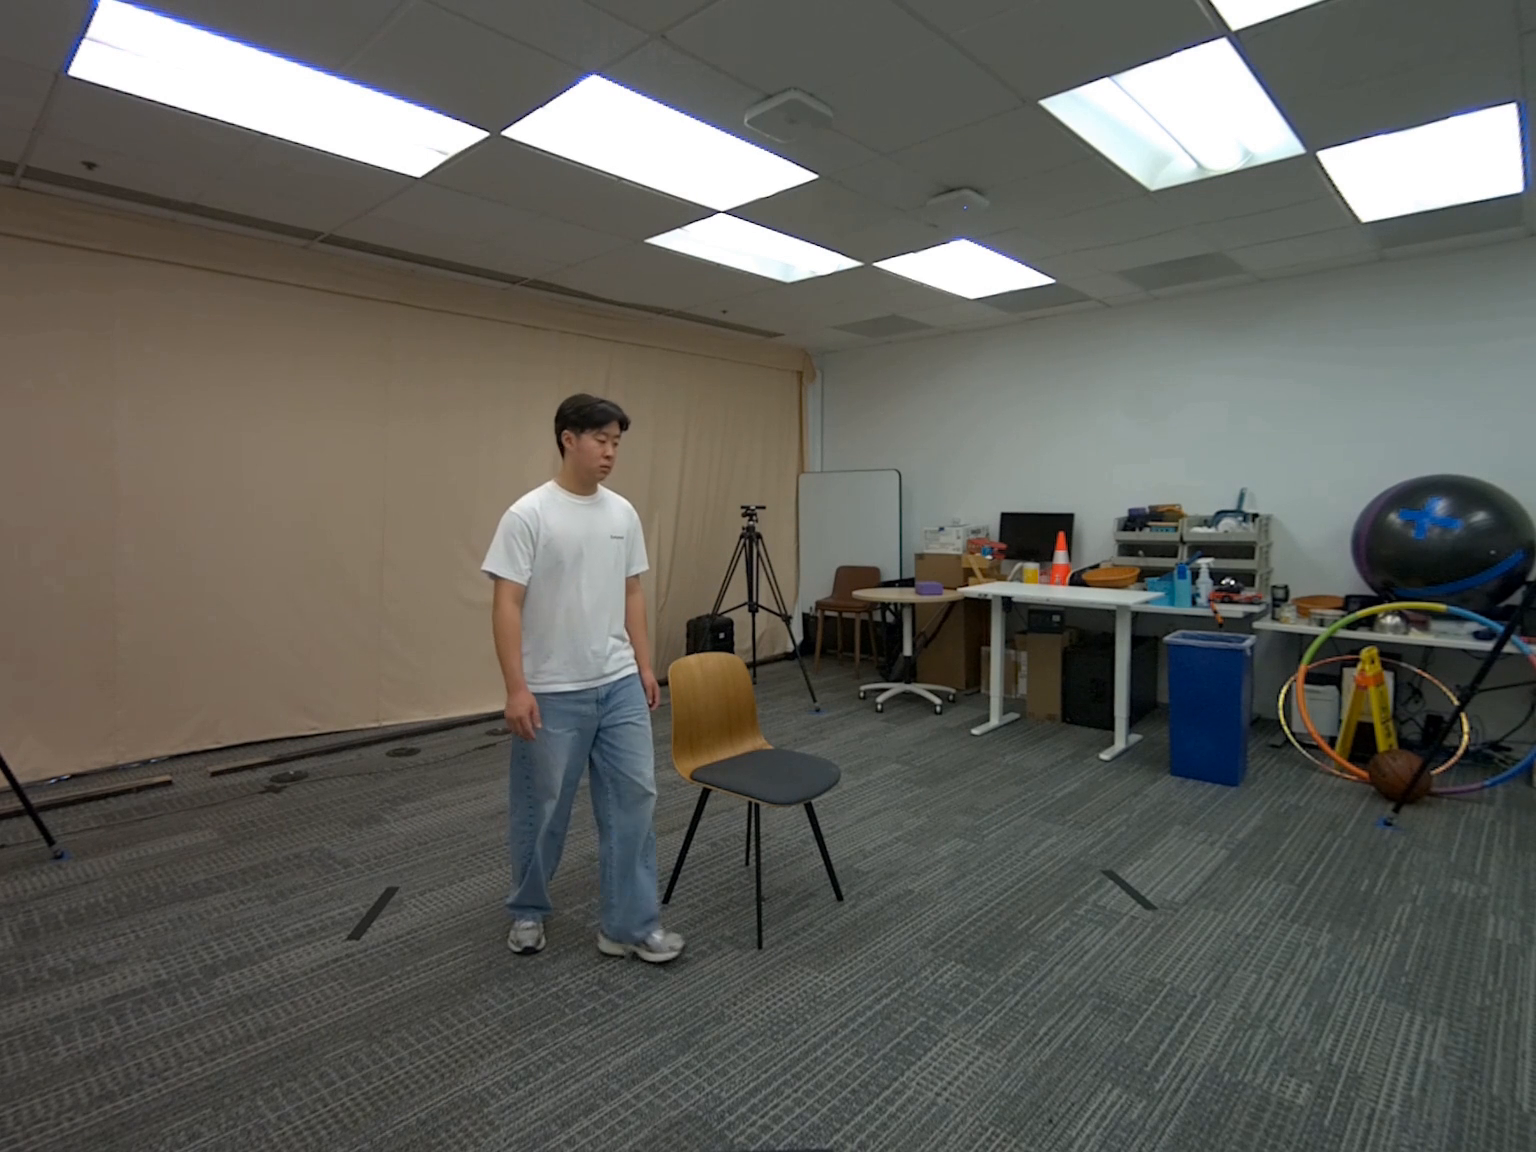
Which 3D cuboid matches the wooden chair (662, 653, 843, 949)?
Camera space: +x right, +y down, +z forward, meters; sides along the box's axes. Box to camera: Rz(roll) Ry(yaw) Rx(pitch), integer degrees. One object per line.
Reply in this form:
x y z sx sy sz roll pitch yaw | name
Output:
-0.044 0.722 2.921 0.539 0.877 0.463 -3 1 42 | wooden chair
